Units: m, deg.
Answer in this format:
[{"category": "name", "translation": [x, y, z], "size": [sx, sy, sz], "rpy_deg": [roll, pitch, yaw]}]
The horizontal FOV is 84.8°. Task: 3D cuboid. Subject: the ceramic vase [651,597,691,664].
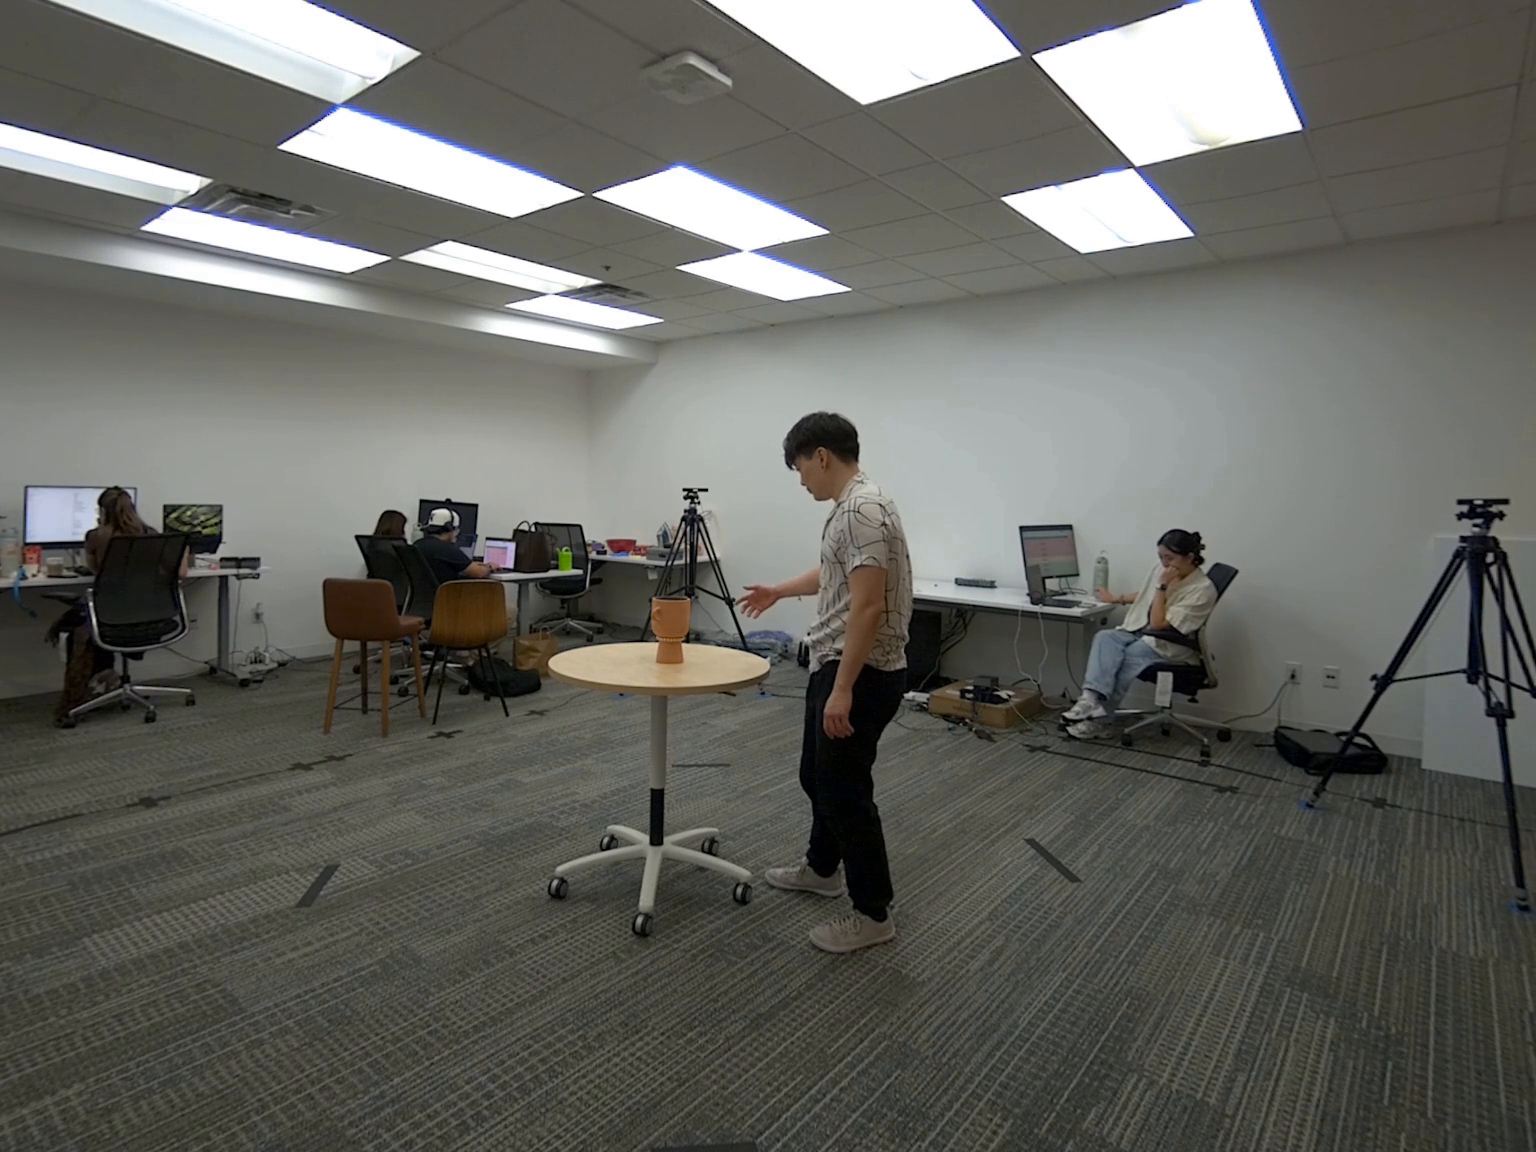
[{"category": "ceramic vase", "translation": [-0.350, 0.189, 2.971], "size": [0.156, 0.219, 0.137], "rpy_deg": [1, 4, -15]}]
